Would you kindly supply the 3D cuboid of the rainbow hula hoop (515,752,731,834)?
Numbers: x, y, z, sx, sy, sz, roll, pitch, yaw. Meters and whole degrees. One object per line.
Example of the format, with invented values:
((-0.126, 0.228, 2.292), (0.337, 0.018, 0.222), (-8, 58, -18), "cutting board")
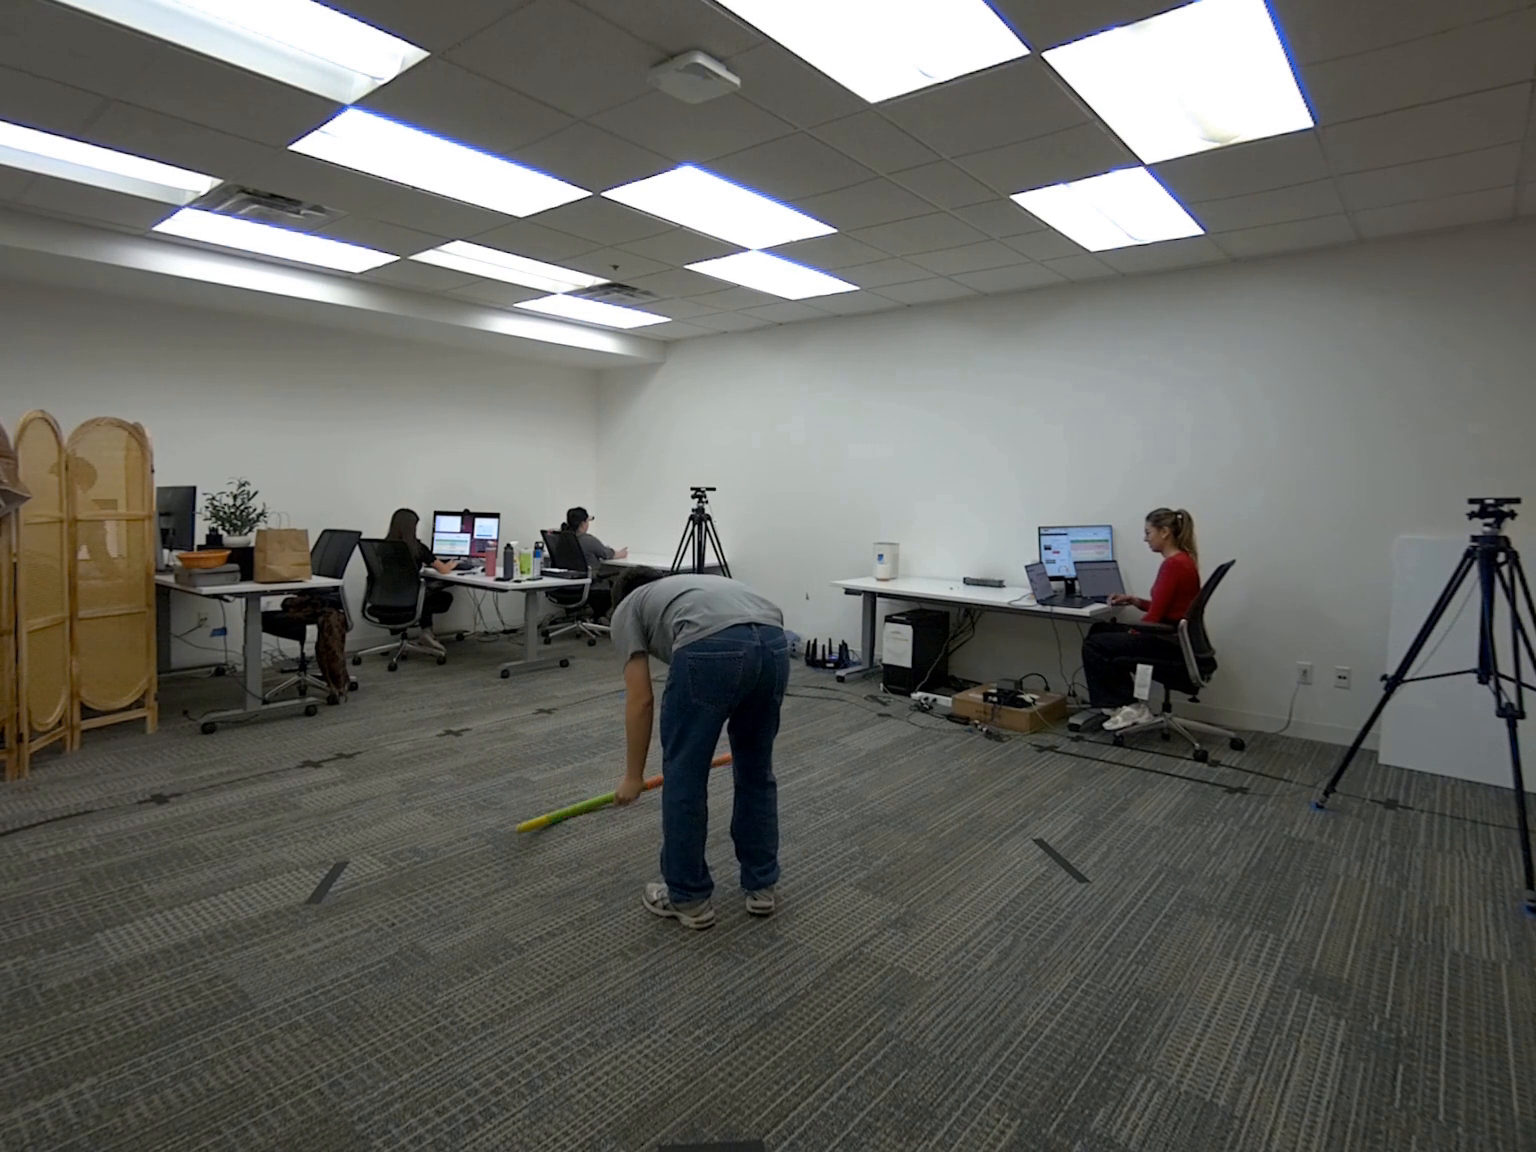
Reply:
((-0.518, 0.817, 3.284), (0.974, 0.036, 0.966), (-18, -11, -6), "rainbow hula hoop")
